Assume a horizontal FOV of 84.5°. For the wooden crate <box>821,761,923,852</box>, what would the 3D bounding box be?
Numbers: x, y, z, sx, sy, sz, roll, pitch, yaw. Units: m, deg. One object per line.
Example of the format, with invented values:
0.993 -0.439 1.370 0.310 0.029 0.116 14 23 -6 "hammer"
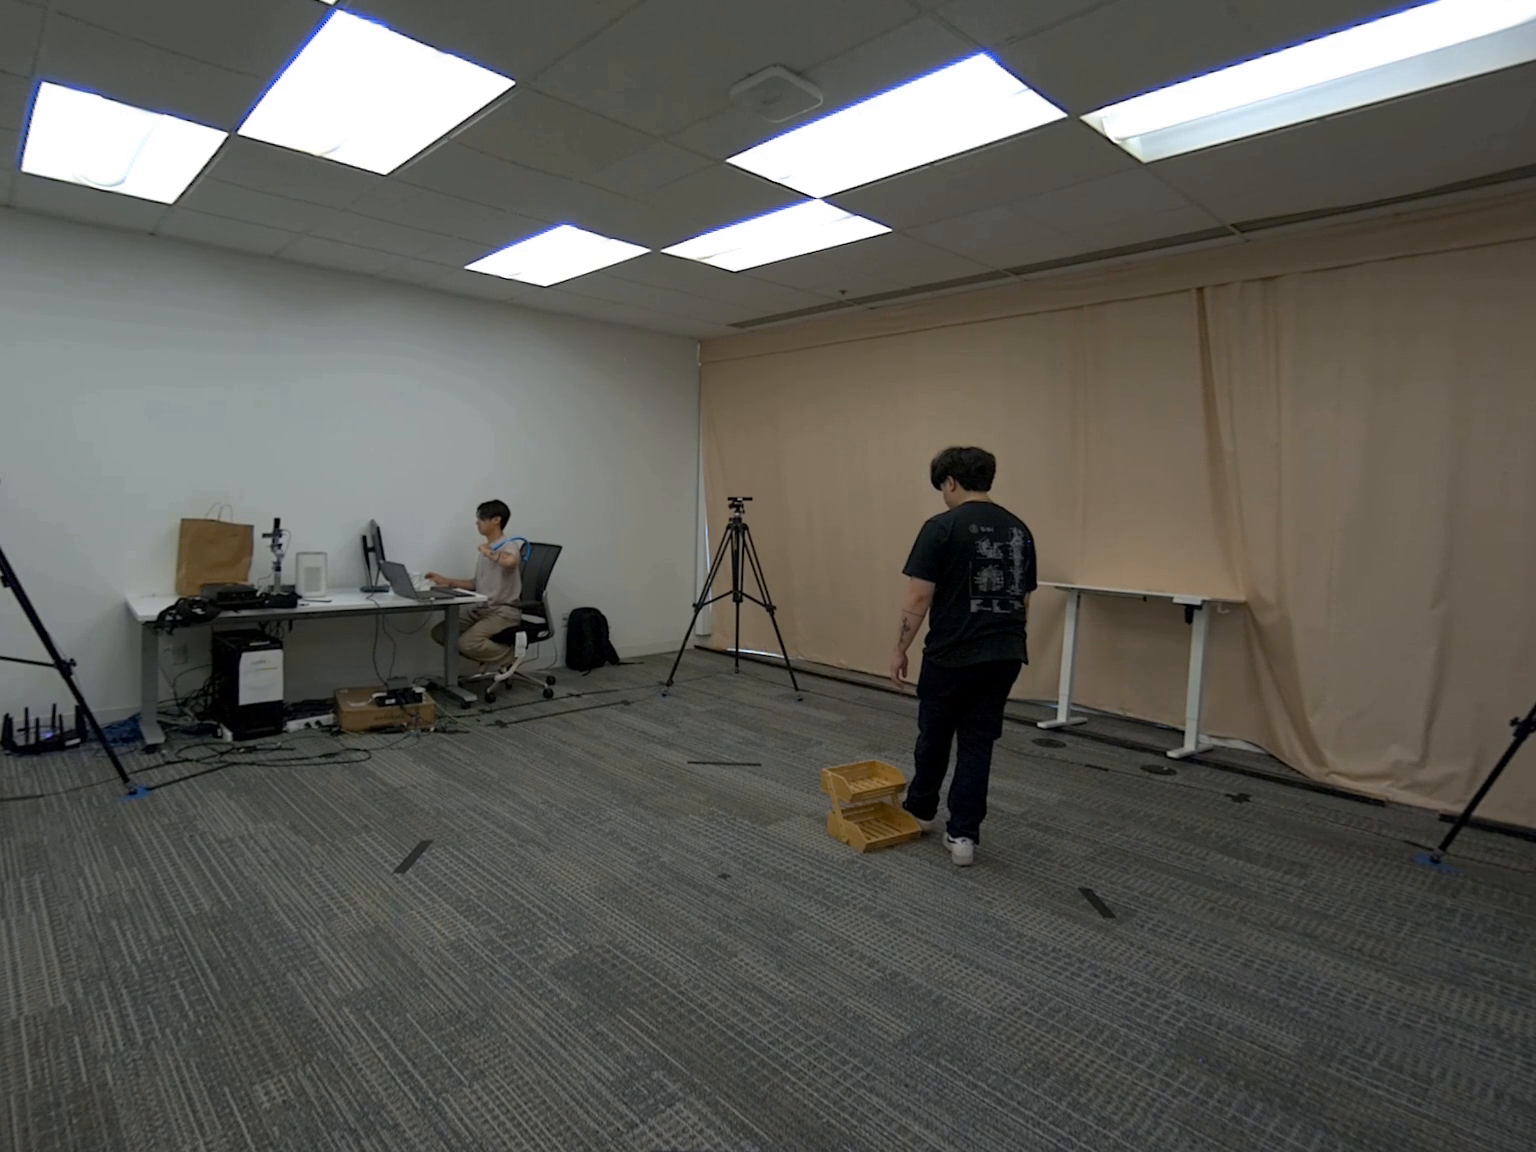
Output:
0.425 0.948 3.529 0.317 0.273 0.309 -1 4 -33 "wooden crate"
